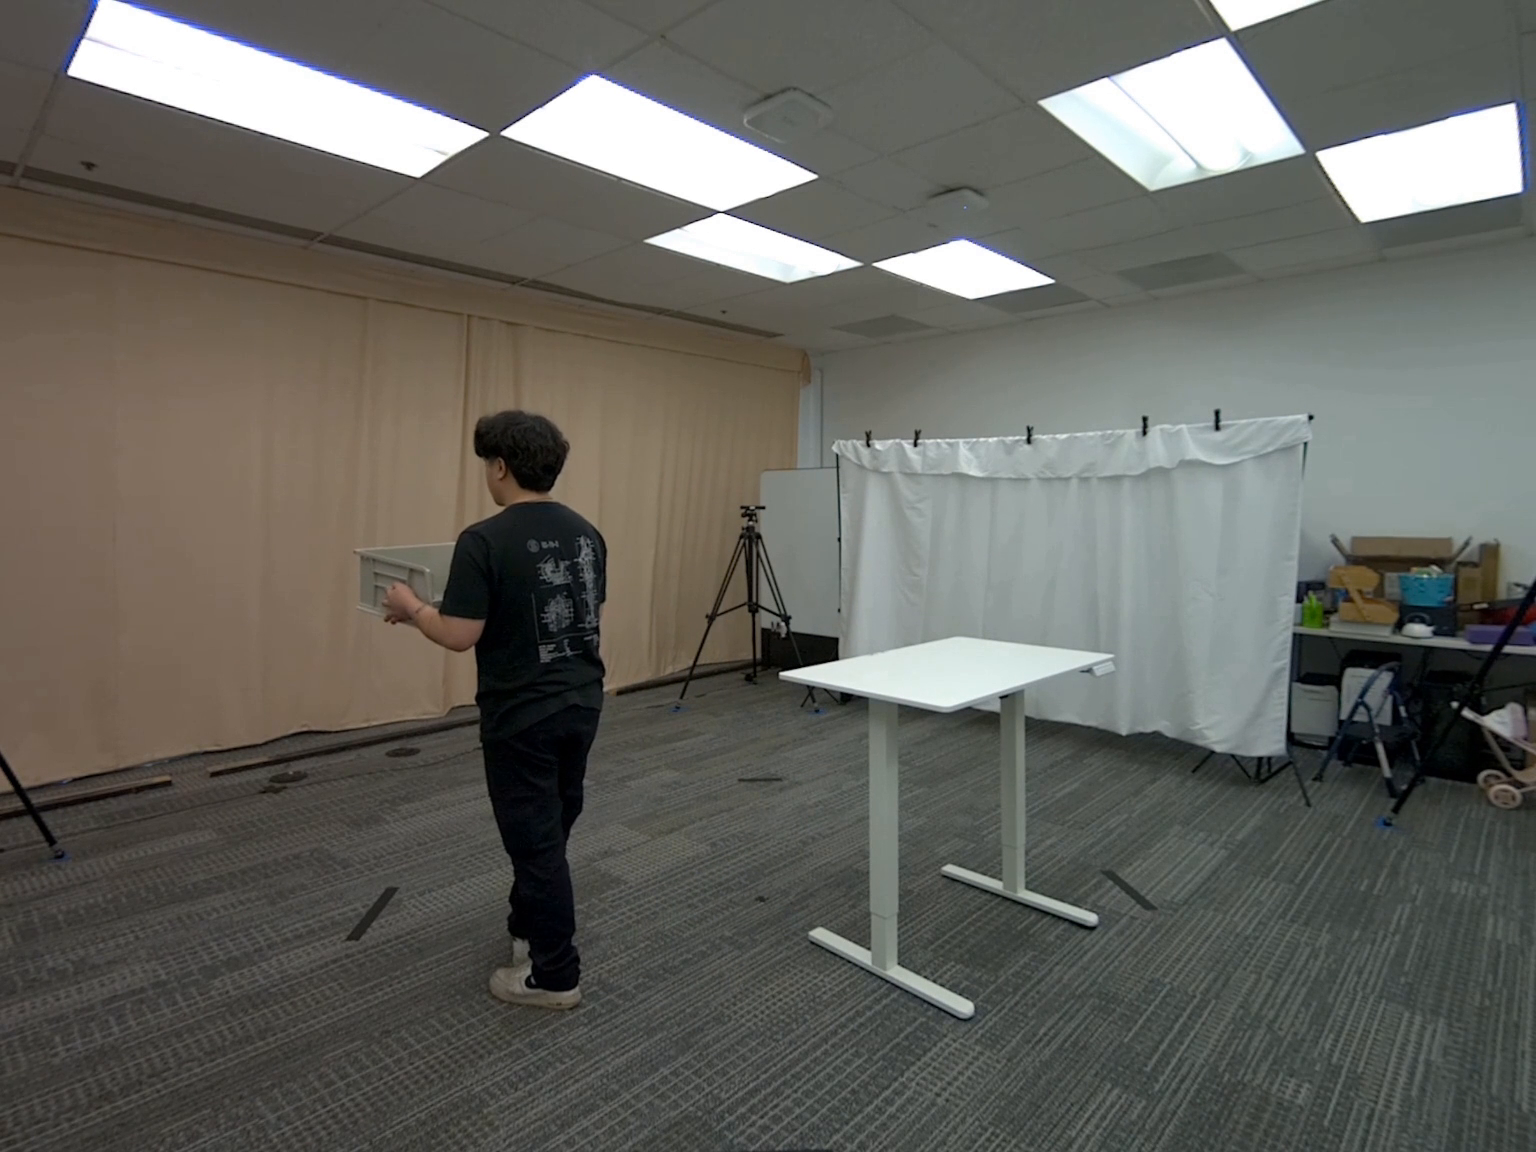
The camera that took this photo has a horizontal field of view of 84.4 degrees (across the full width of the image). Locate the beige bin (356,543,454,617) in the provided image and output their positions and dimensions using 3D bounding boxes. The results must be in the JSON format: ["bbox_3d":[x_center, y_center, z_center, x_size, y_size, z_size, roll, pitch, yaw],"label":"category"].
[{"bbox_3d":[-0.973,0.022,2.602,0.389,0.188,0.411,9,10,32],"label":"beige bin"}]
